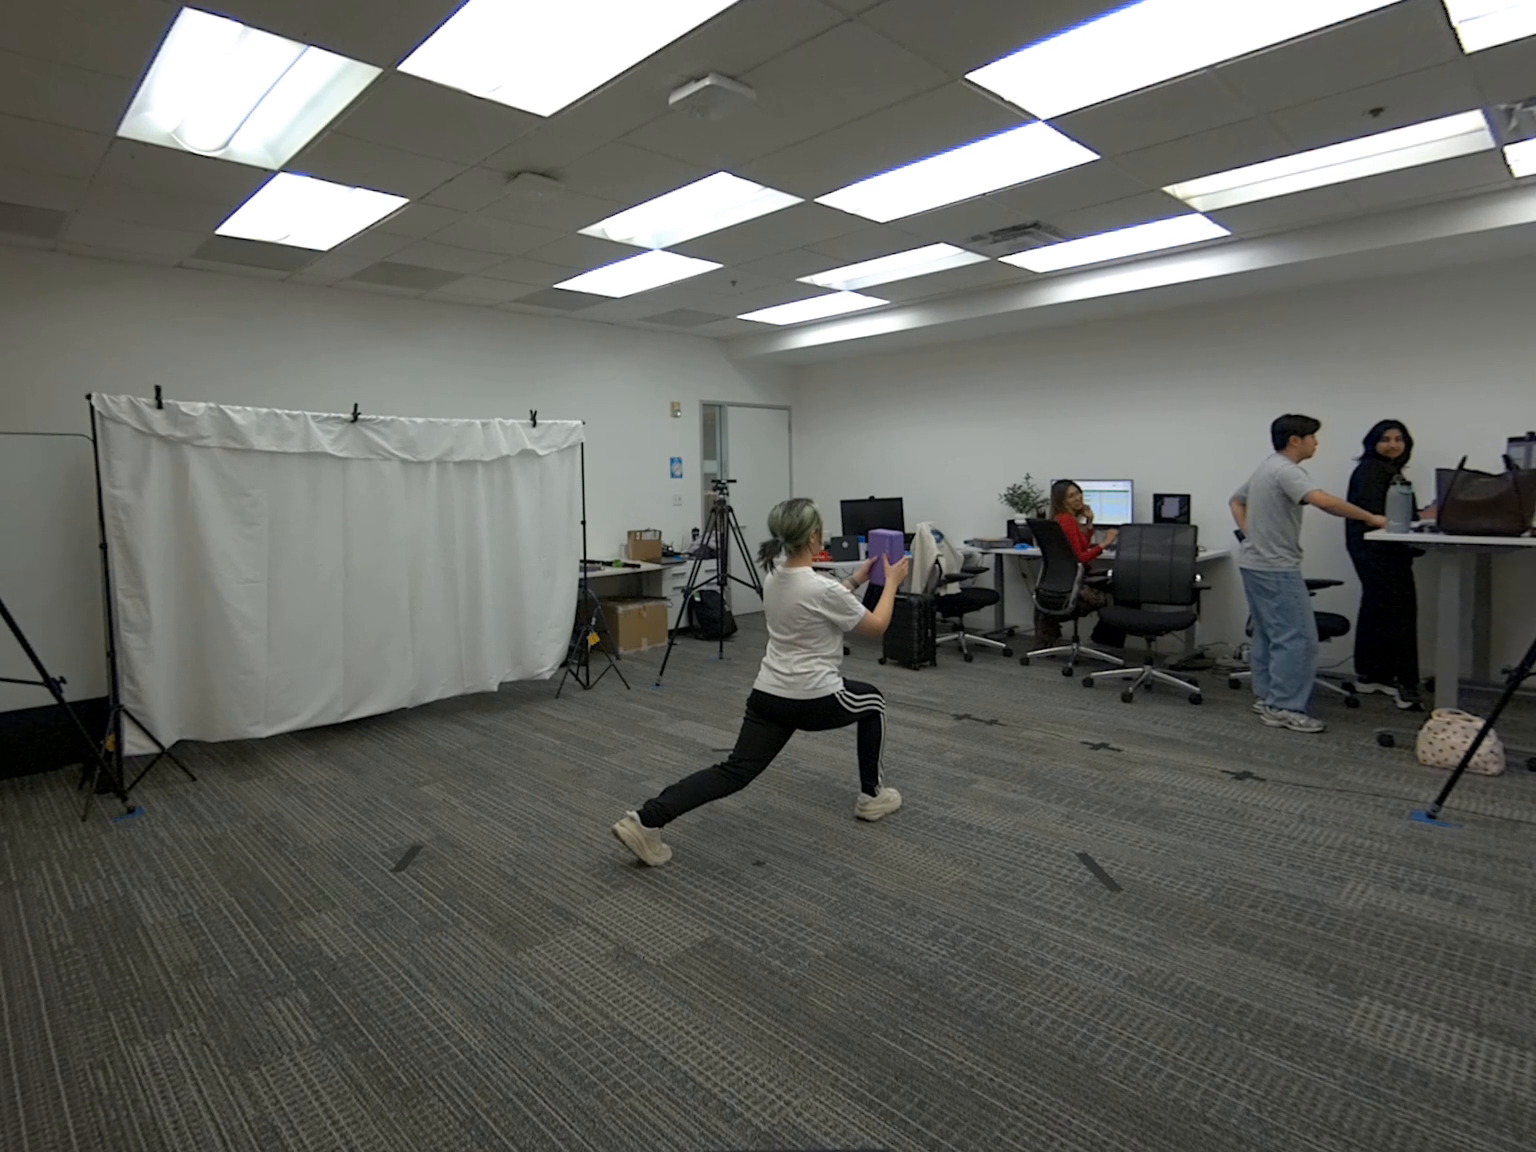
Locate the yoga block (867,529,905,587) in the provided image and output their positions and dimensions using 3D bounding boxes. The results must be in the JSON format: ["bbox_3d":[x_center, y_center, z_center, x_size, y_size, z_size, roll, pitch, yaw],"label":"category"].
[{"bbox_3d":[0.503,-0.075,3.599,0.075,0.227,0.153,-7,10,-32],"label":"yoga block"}]
